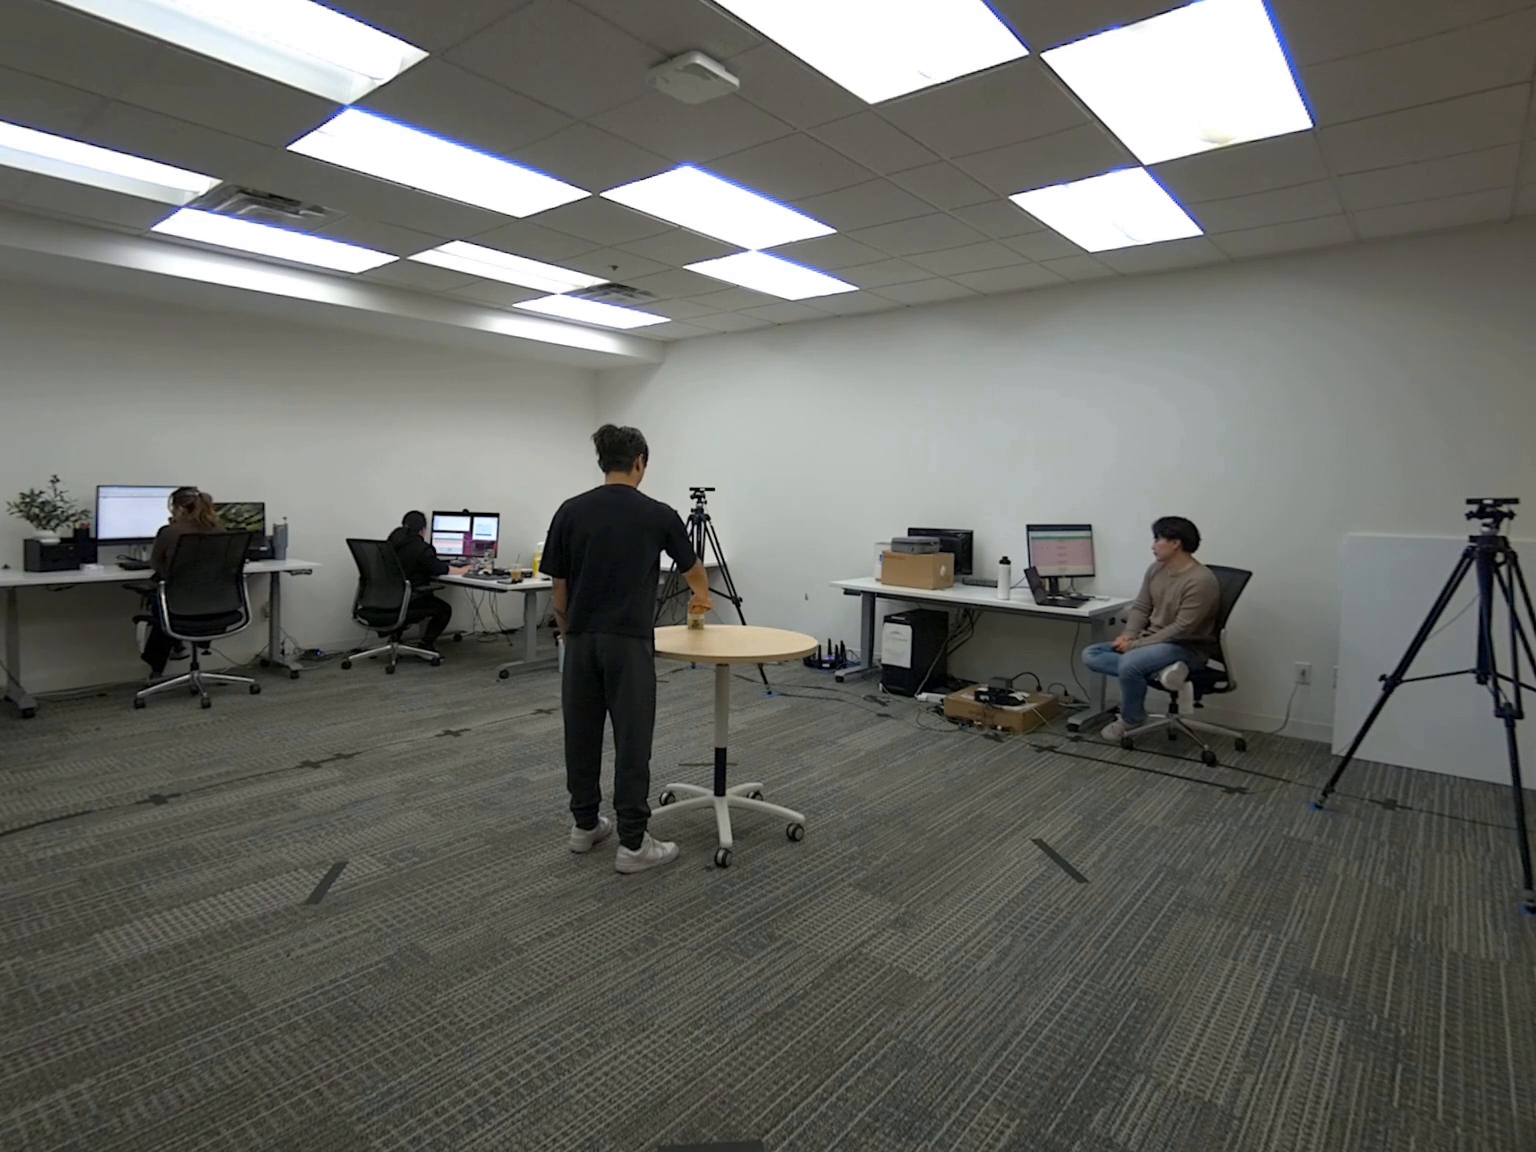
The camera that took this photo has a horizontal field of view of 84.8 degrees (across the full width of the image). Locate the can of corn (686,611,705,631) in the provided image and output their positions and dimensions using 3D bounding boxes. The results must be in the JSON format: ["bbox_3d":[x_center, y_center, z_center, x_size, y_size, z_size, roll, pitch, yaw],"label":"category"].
[{"bbox_3d":[-0.324,0.165,3.706,0.074,0.110,0.075,1,8,-2],"label":"can of corn"}]
